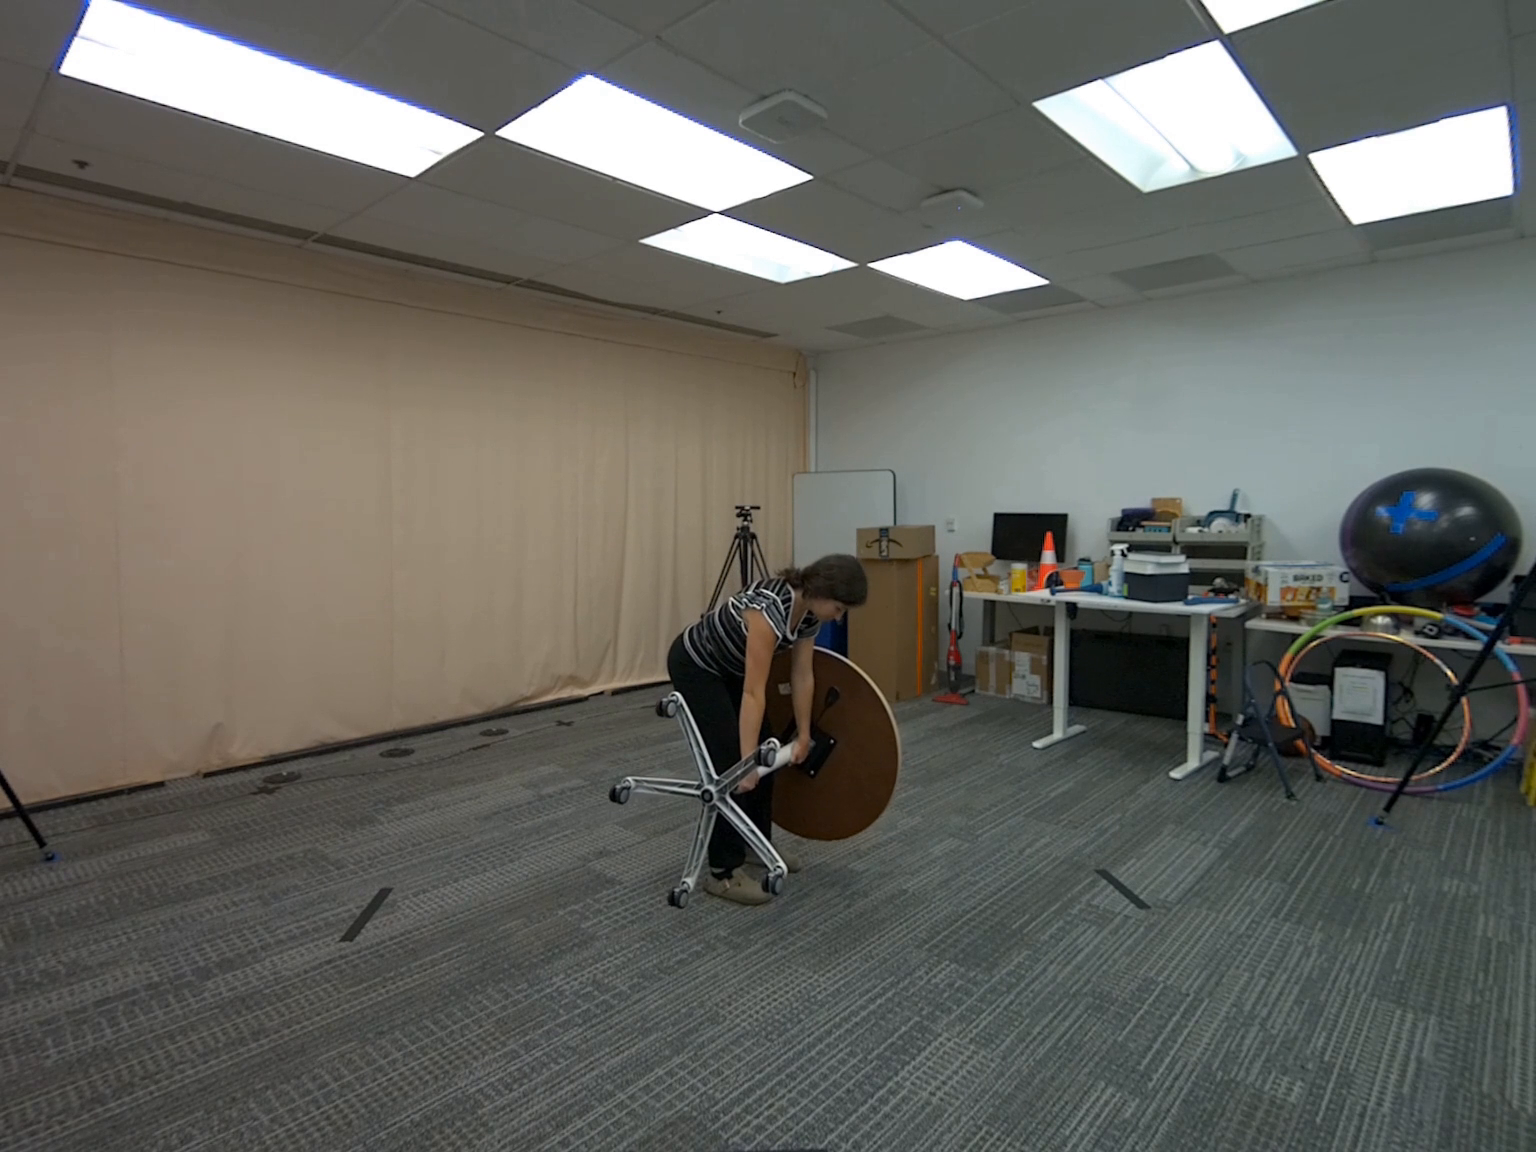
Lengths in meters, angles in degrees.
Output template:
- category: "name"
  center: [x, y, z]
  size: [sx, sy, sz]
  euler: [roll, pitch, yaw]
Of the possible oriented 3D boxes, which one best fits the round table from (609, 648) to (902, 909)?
- category: "round table"
  center: [-0.037, 0.699, 2.995]
  size: [0.787, 0.761, 0.772]
  euler: [2, 6, 33]
